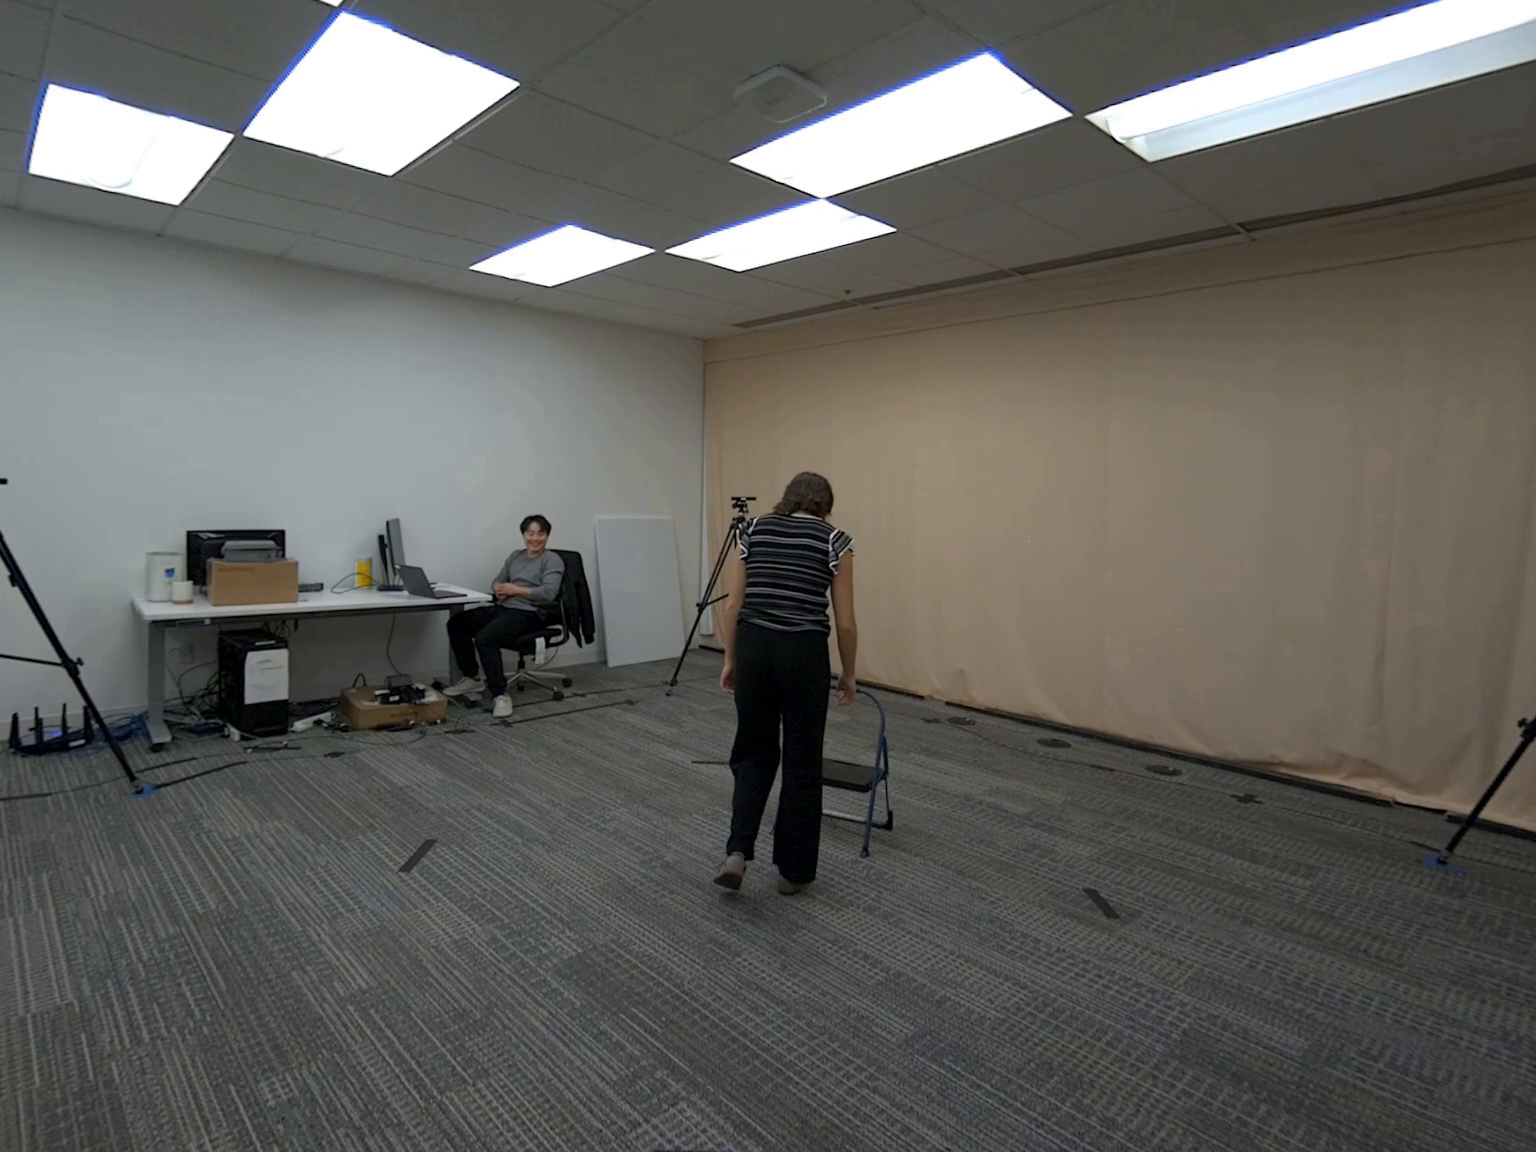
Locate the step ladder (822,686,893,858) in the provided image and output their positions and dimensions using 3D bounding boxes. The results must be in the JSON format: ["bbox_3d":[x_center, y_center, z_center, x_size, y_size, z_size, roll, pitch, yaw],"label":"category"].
[{"bbox_3d":[0.279,0.778,3.535,0.440,0.605,0.343,4,4,28],"label":"step ladder"}]
